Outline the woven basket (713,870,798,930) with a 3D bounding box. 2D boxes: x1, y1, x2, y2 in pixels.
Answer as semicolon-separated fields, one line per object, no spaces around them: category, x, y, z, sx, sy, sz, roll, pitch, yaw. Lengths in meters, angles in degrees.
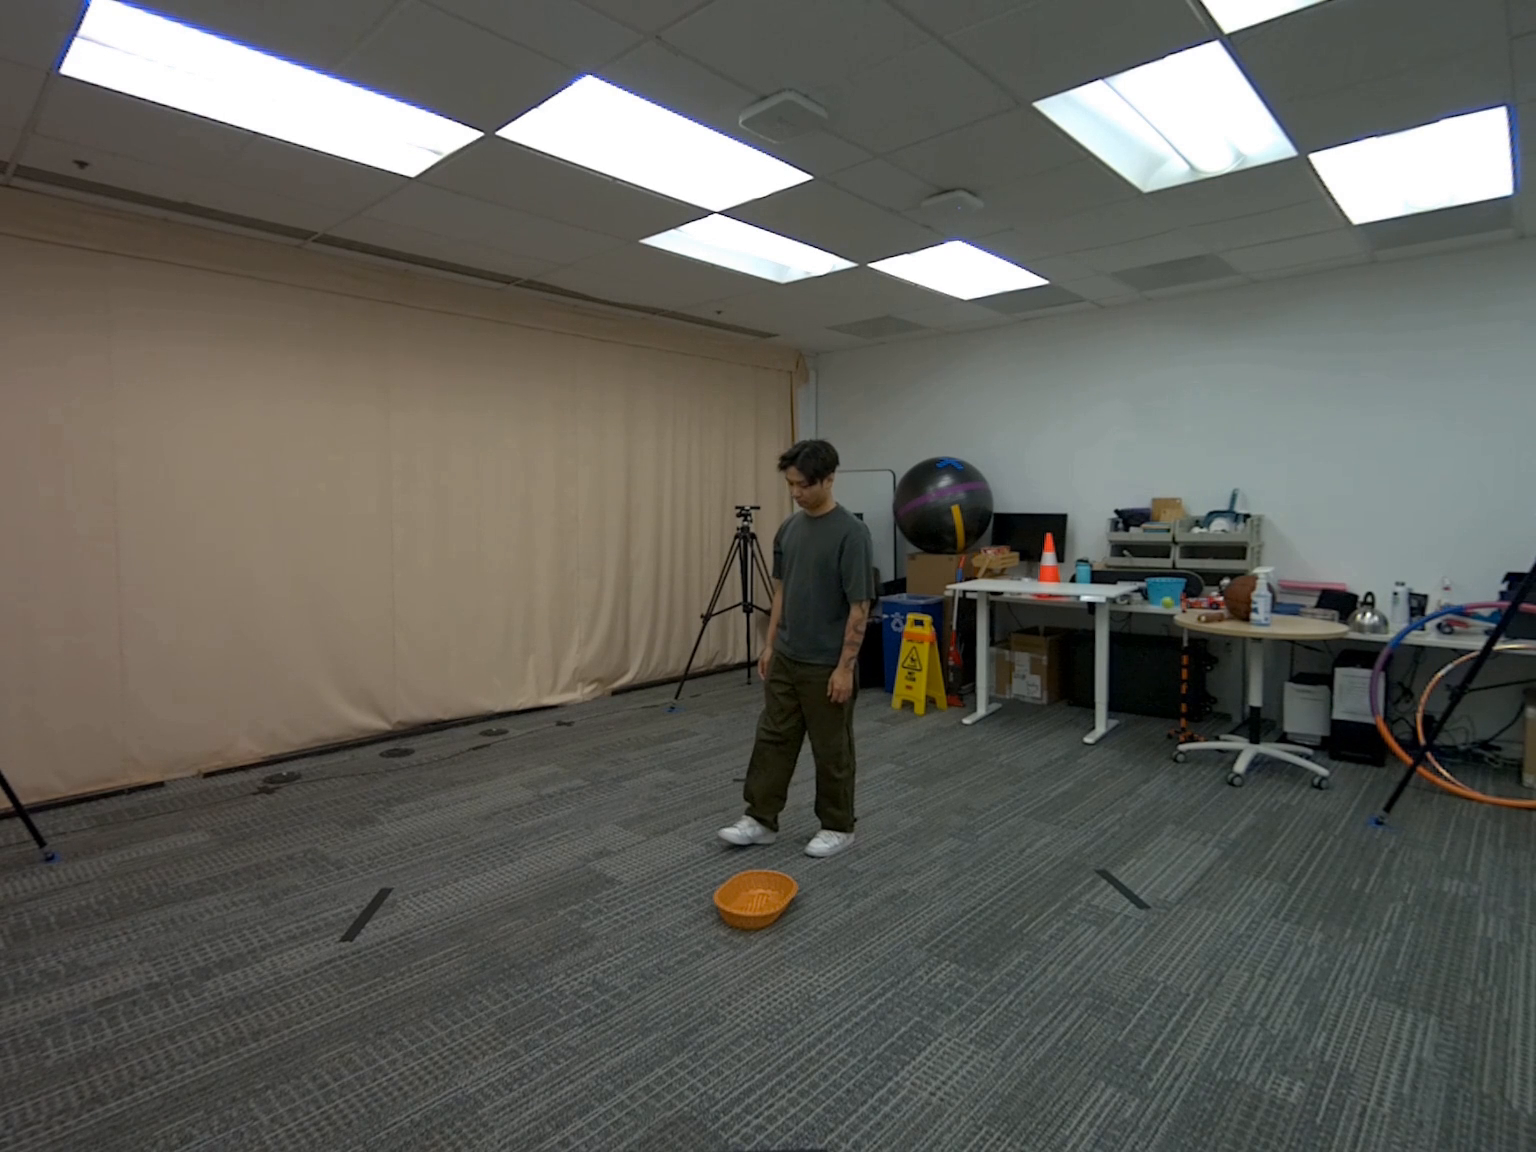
woven basket;-0.036;1.108;2.897;0.259;0.073;0.342;3;5;28
